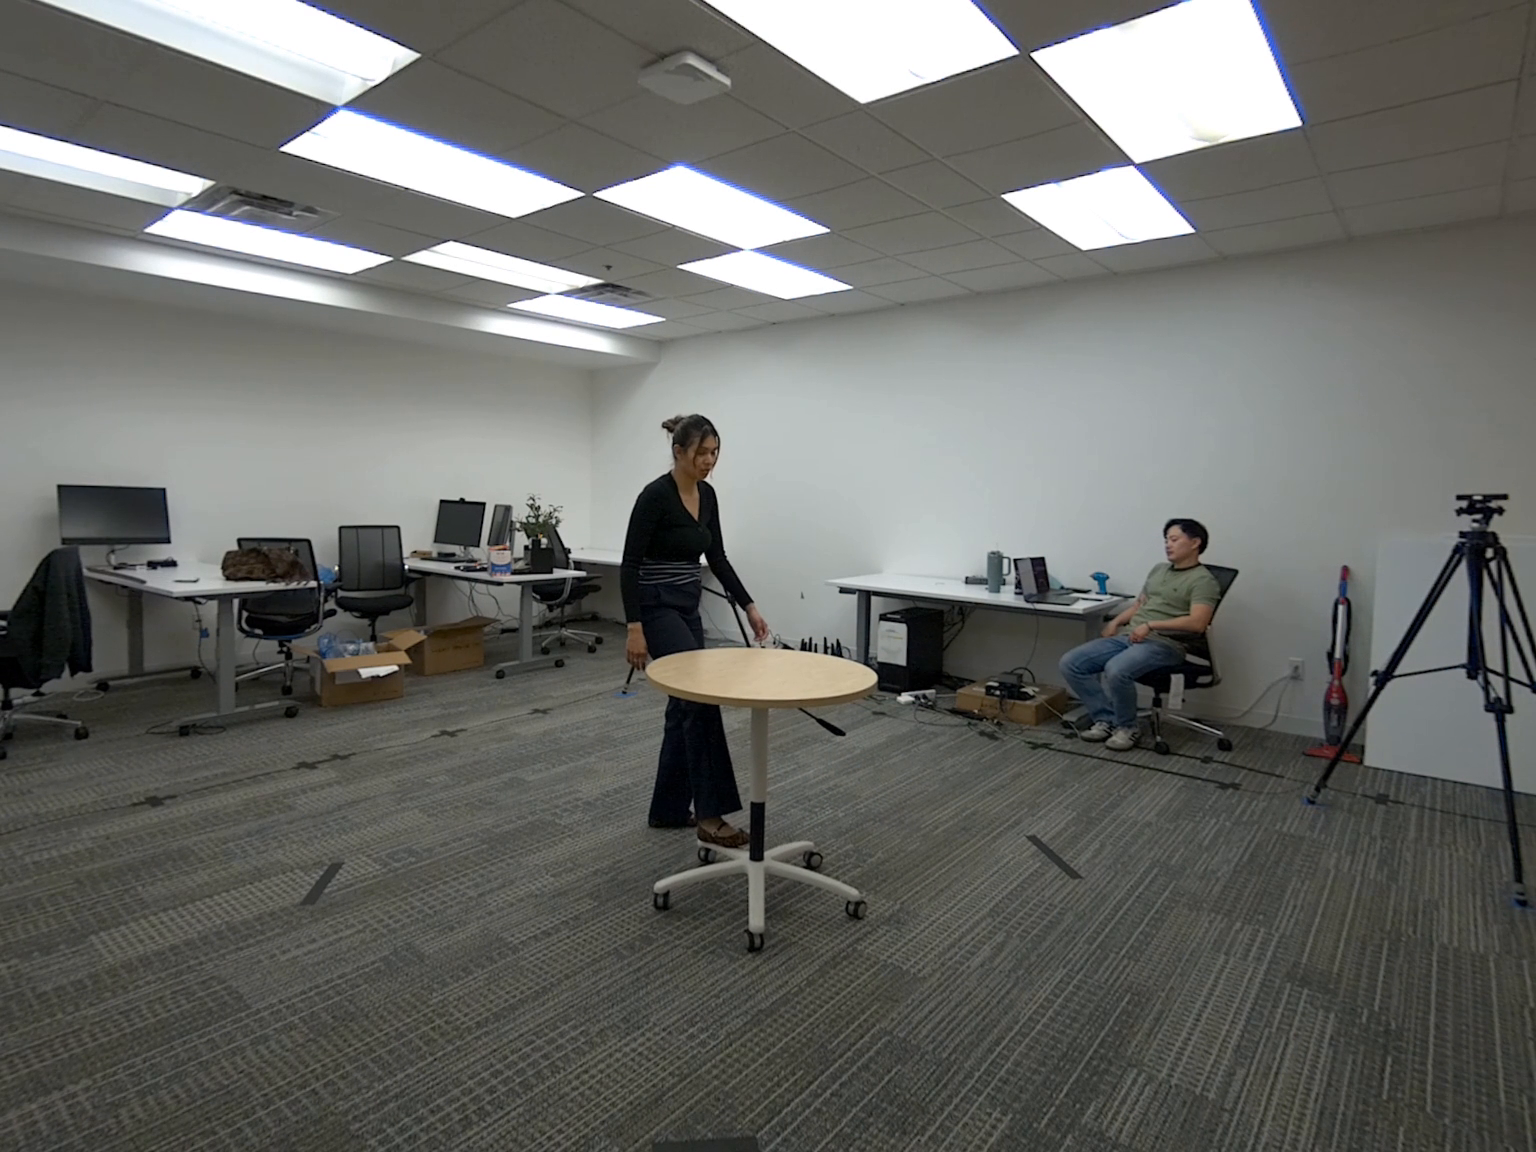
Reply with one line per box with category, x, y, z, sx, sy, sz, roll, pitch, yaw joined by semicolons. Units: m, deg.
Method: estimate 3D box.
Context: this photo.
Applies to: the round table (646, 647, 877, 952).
round table;-0.034;0.706;2.860;0.763;0.791;0.768;1;5;-2
